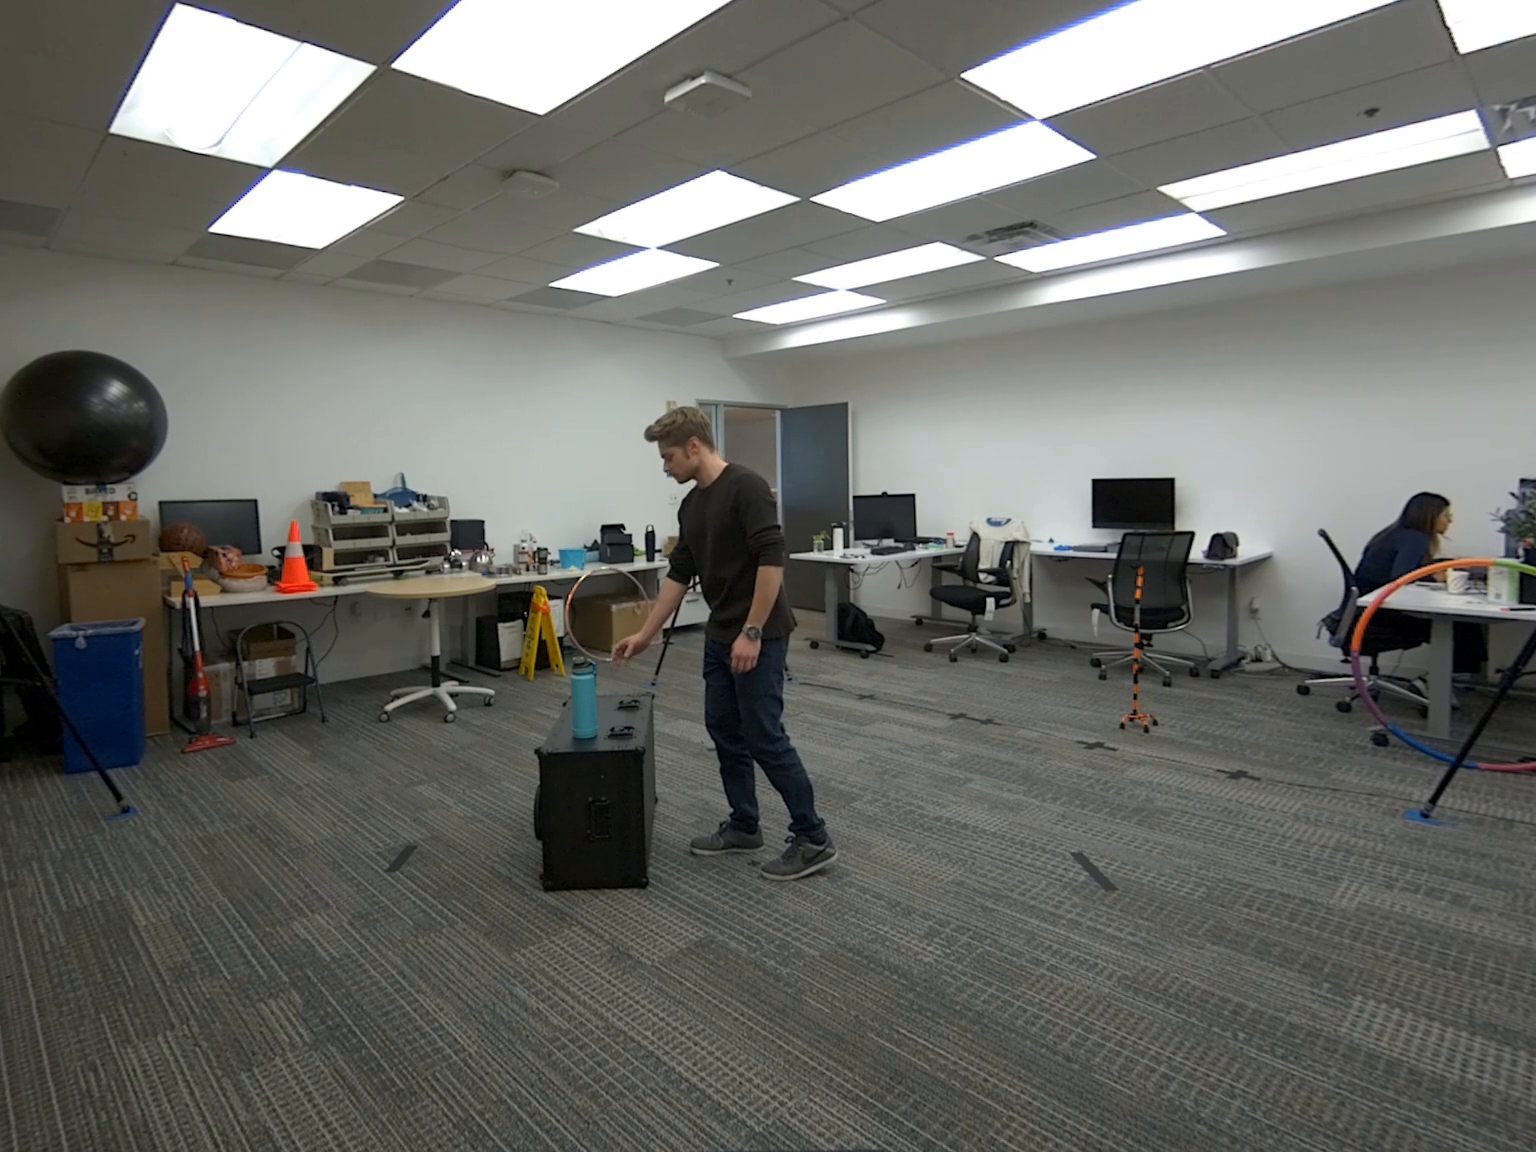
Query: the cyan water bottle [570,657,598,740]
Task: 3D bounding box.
[{"bbox_3d":[-0.666,0.431,3.090,0.092,0.283,0.092,-4,1,-2],"label":"cyan water bottle"}]
